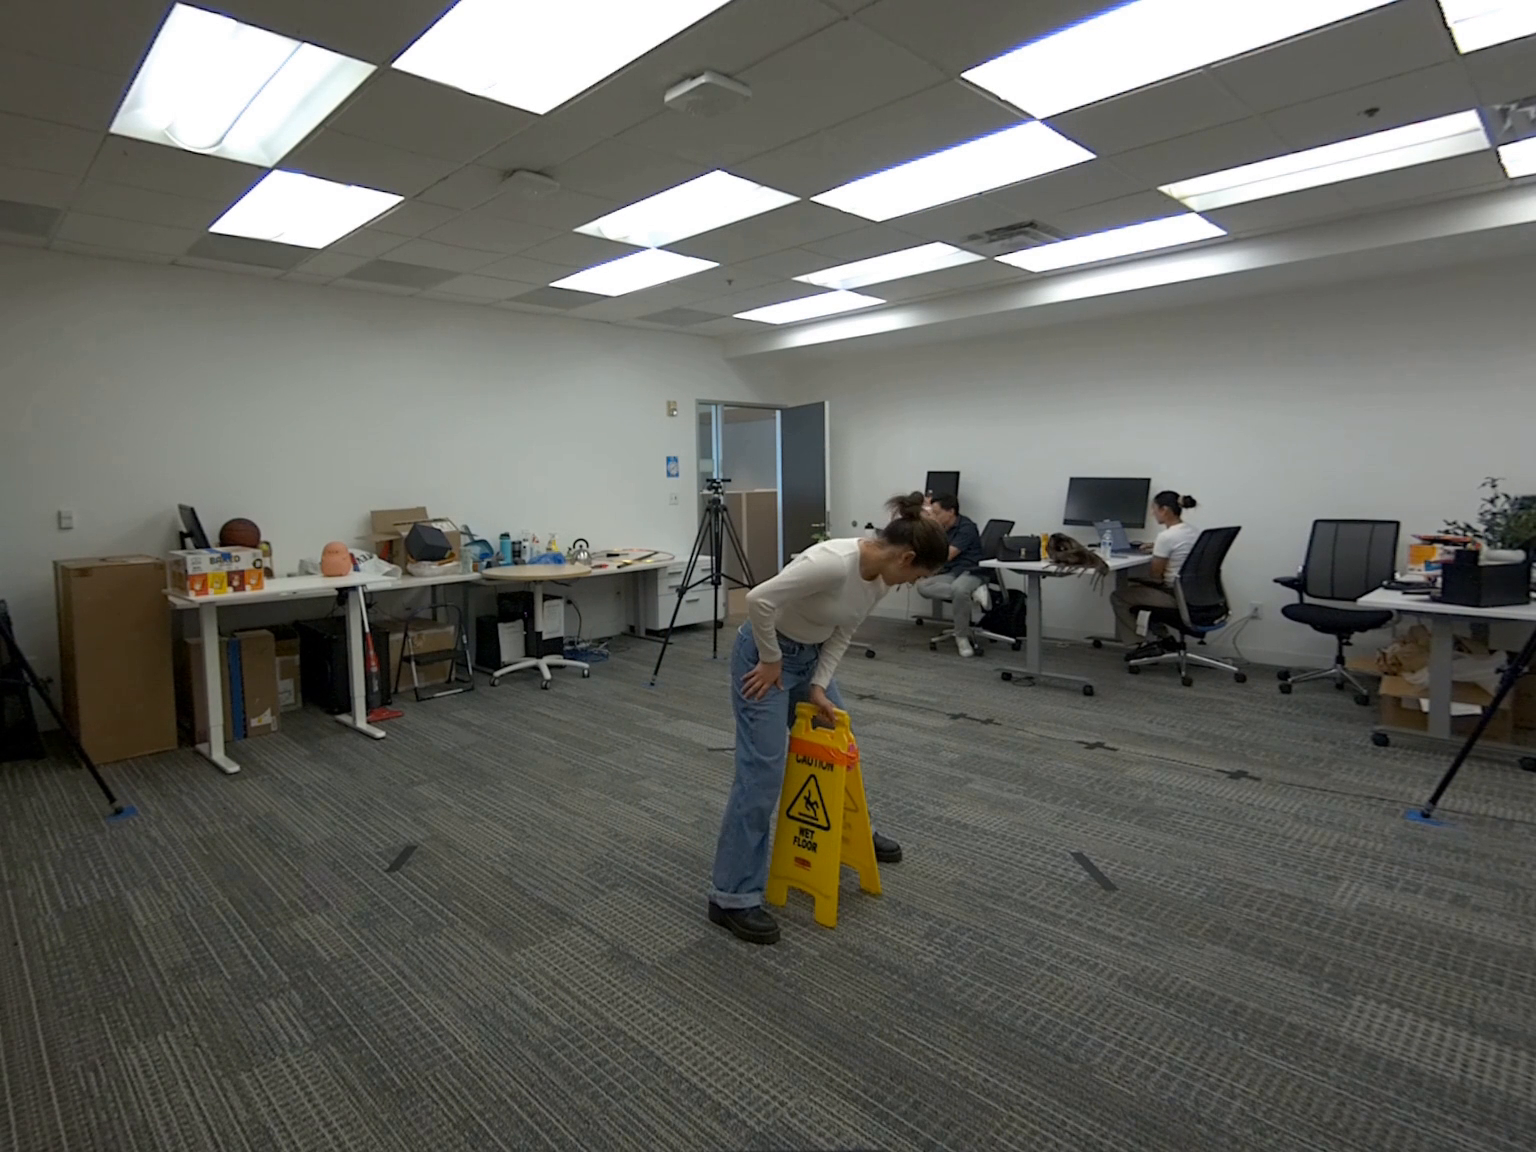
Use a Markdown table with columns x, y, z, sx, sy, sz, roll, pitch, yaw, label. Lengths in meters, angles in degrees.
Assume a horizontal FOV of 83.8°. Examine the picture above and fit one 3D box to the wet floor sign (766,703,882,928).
| x | y | z | sx | sy | sz | roll | pitch | yaw | label |
| --- | --- | --- | --- | --- | --- | --- | --- | --- | --- |
| 0.183 | 0.754 | 2.819 | 0.291 | 0.643 | 0.282 | 3 | 6 | 40 | wet floor sign |
